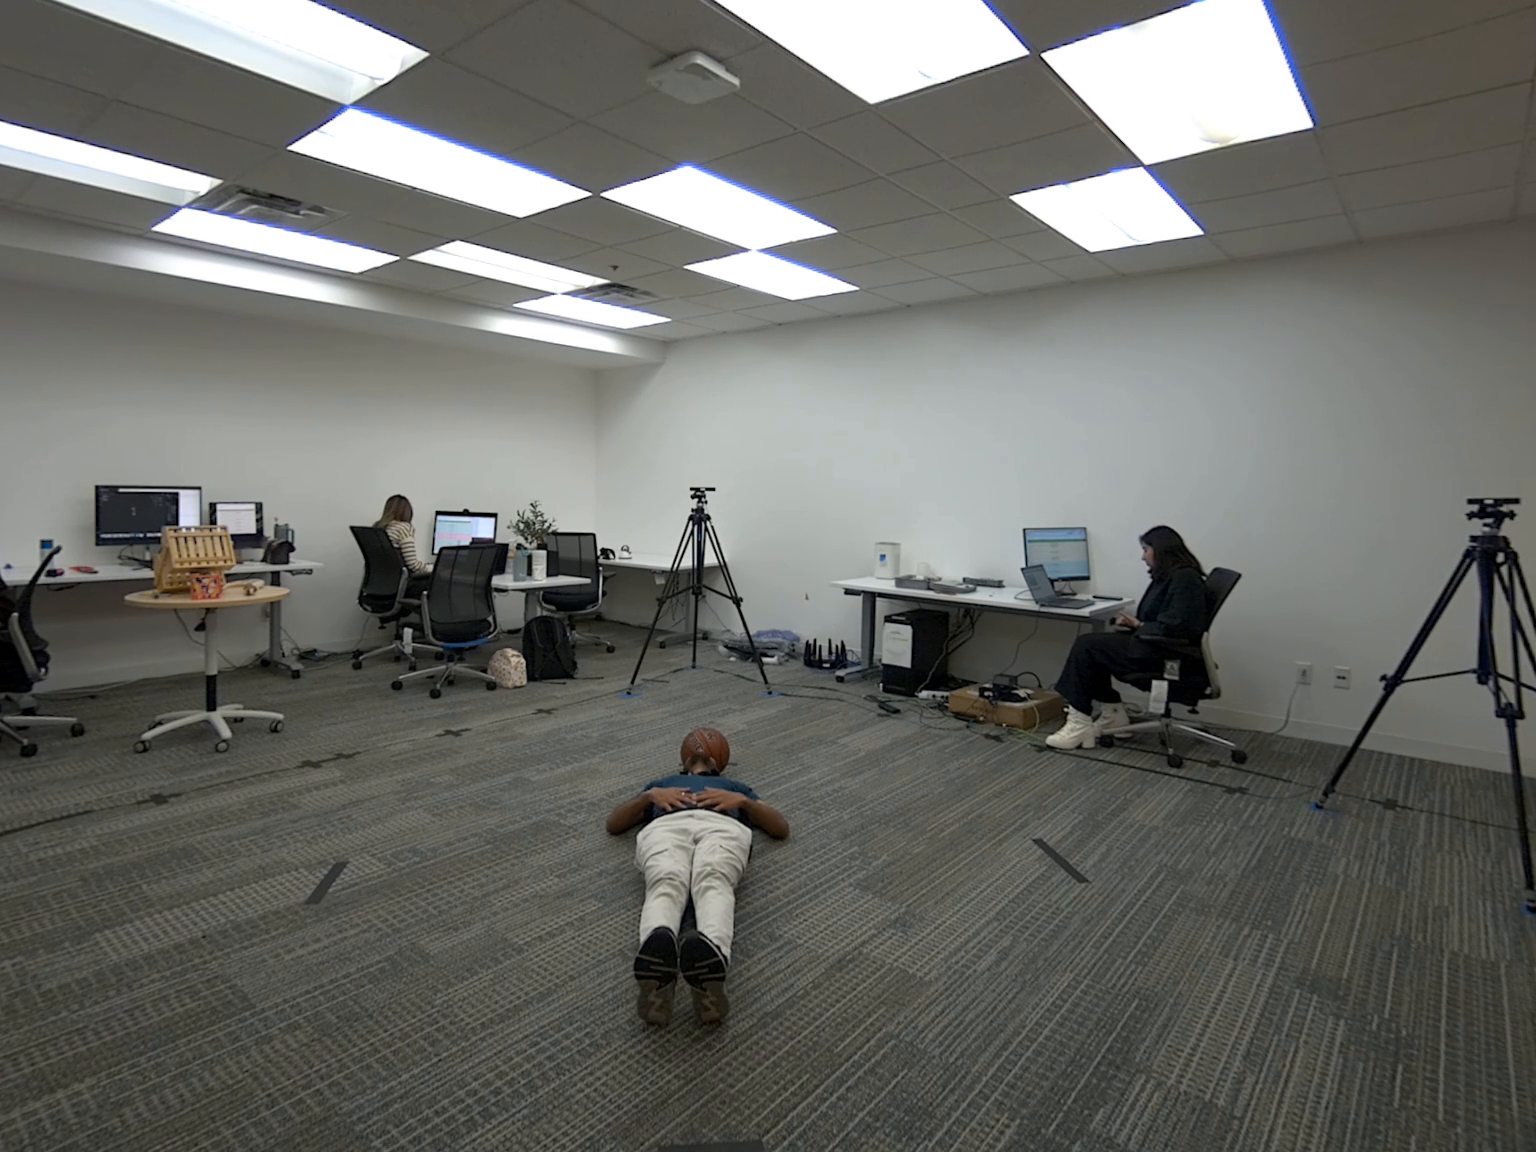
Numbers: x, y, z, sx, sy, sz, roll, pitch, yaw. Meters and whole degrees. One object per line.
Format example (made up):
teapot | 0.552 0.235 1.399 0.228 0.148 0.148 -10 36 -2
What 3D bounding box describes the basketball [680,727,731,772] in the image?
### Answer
basketball | -0.311 0.845 4.102 0.235 0.235 0.237 1 4 -2
